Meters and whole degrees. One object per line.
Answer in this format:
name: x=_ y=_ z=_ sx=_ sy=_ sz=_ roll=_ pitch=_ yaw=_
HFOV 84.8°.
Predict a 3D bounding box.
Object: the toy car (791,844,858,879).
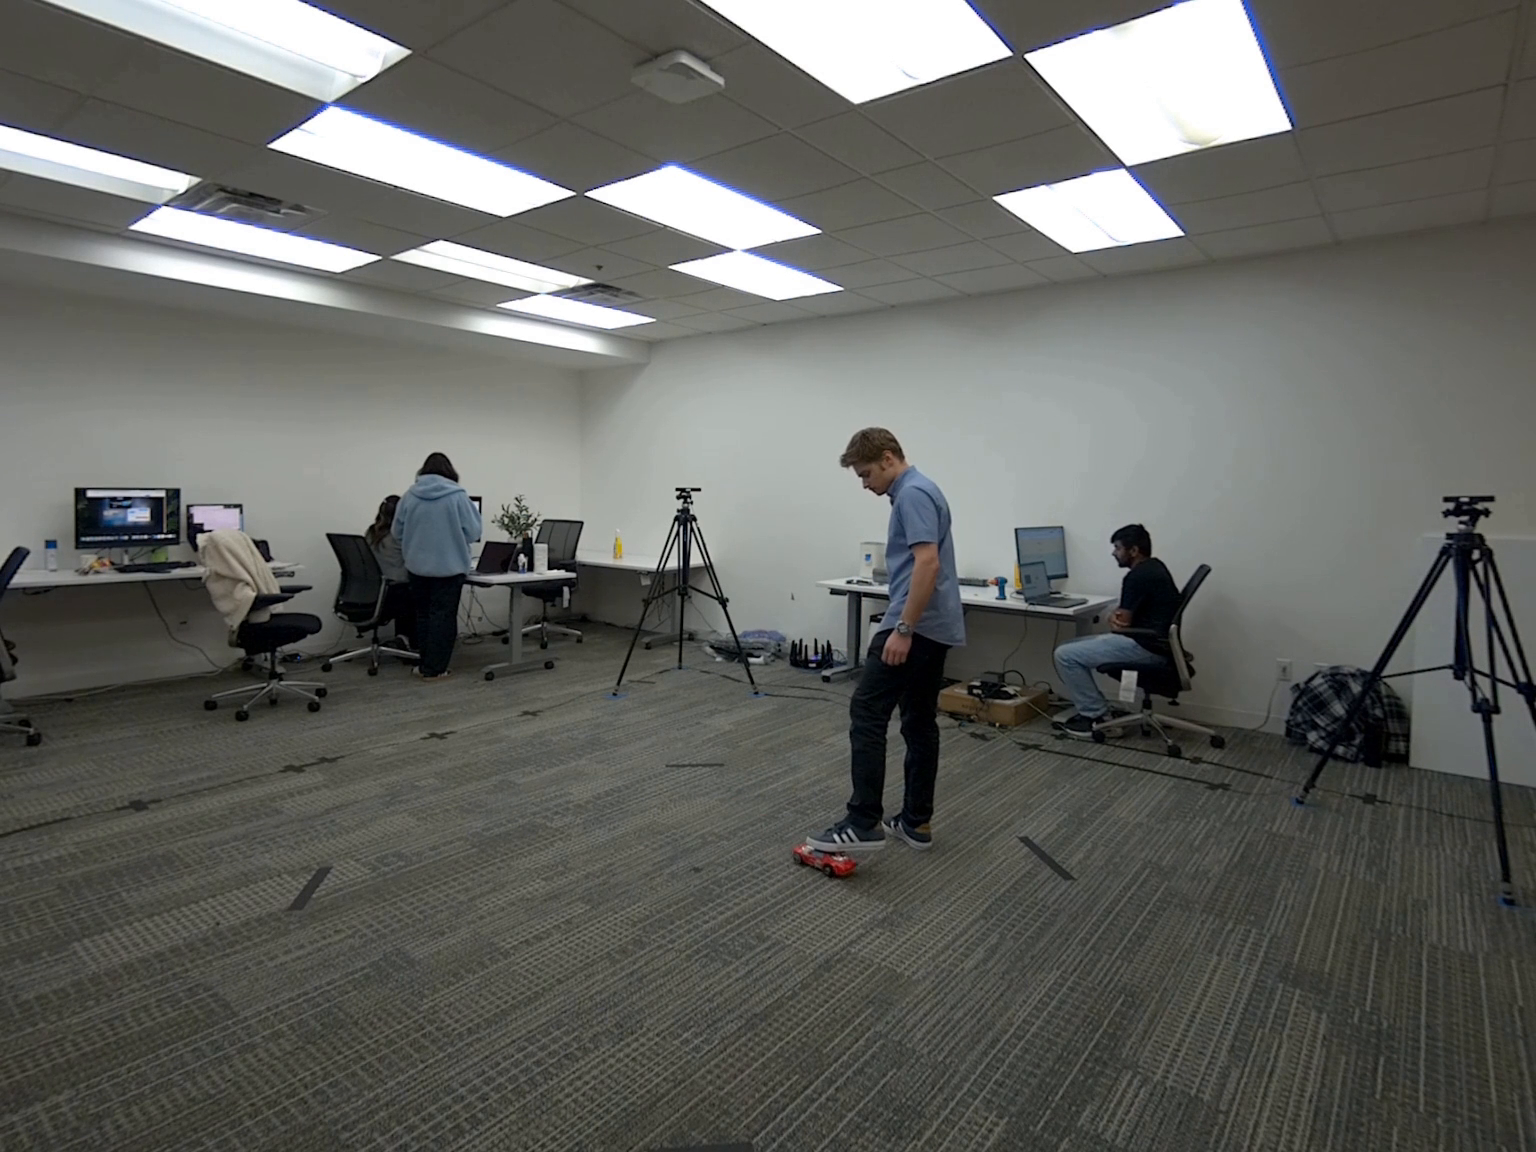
toy car: x=0.204 y=1.045 z=3.141 sx=0.261 sy=0.083 sz=0.126 roll=-7 pitch=-3 yaw=44
